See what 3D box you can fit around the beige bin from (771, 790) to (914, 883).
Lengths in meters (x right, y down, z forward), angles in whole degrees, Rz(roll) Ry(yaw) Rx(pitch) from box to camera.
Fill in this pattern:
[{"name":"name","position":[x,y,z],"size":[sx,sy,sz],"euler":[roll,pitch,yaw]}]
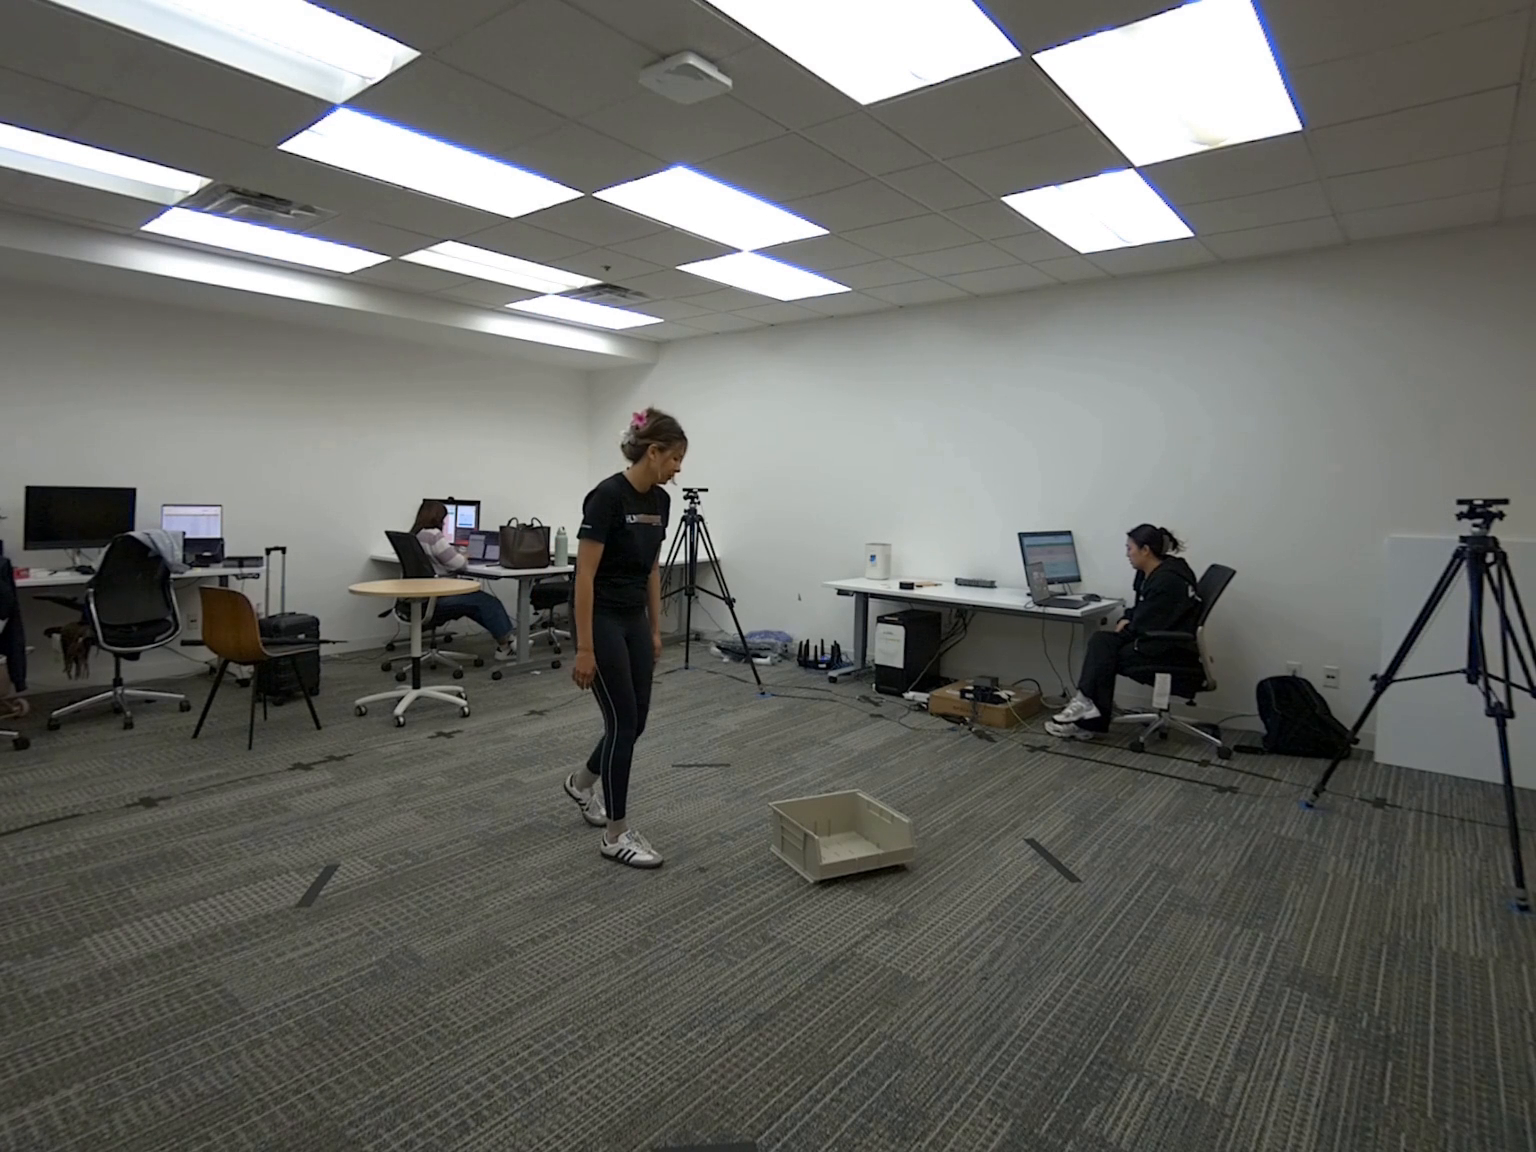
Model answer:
[{"name":"beige bin","position":[0.270,0.984,3.217],"size":[0.412,0.188,0.388],"euler":[-2,5,-27]}]
